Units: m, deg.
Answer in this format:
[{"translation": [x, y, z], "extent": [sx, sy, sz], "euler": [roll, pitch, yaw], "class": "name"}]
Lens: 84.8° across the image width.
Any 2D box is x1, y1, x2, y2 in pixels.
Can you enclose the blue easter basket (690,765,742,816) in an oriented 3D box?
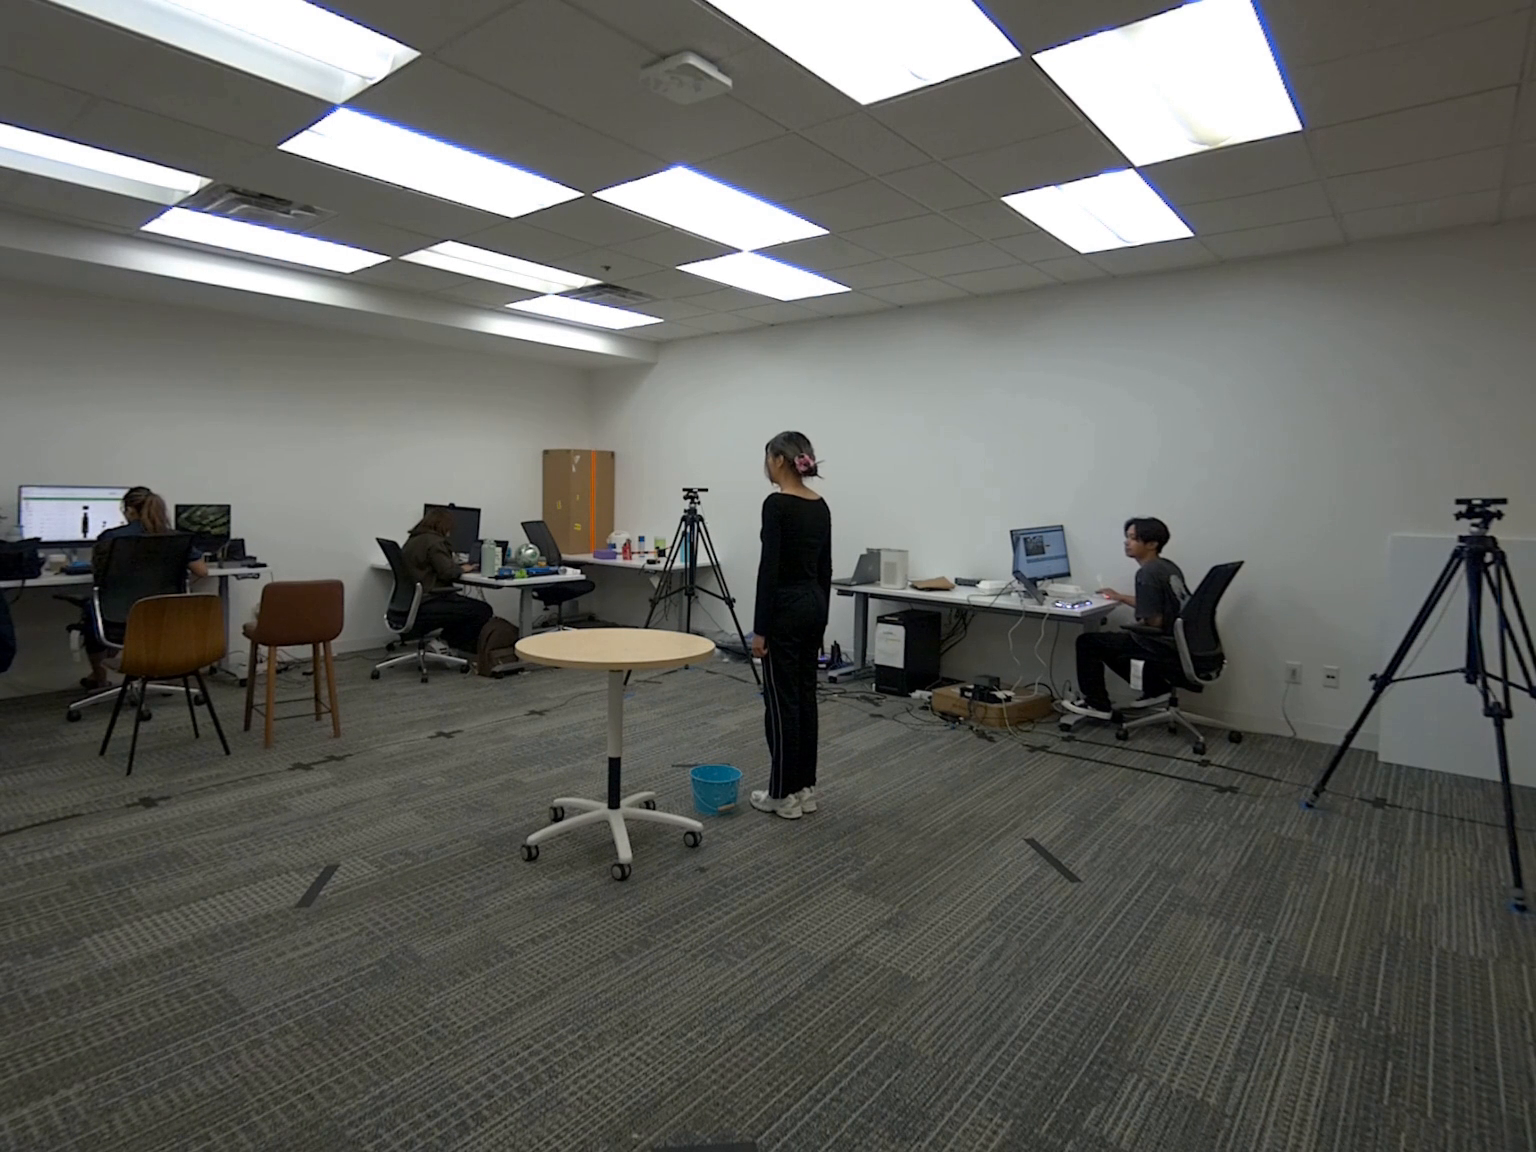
[{"translation": [-0.241, 0.936, 3.730], "extent": [0.243, 0.155, 0.245], "euler": [1, 5, -2], "class": "blue easter basket"}]
